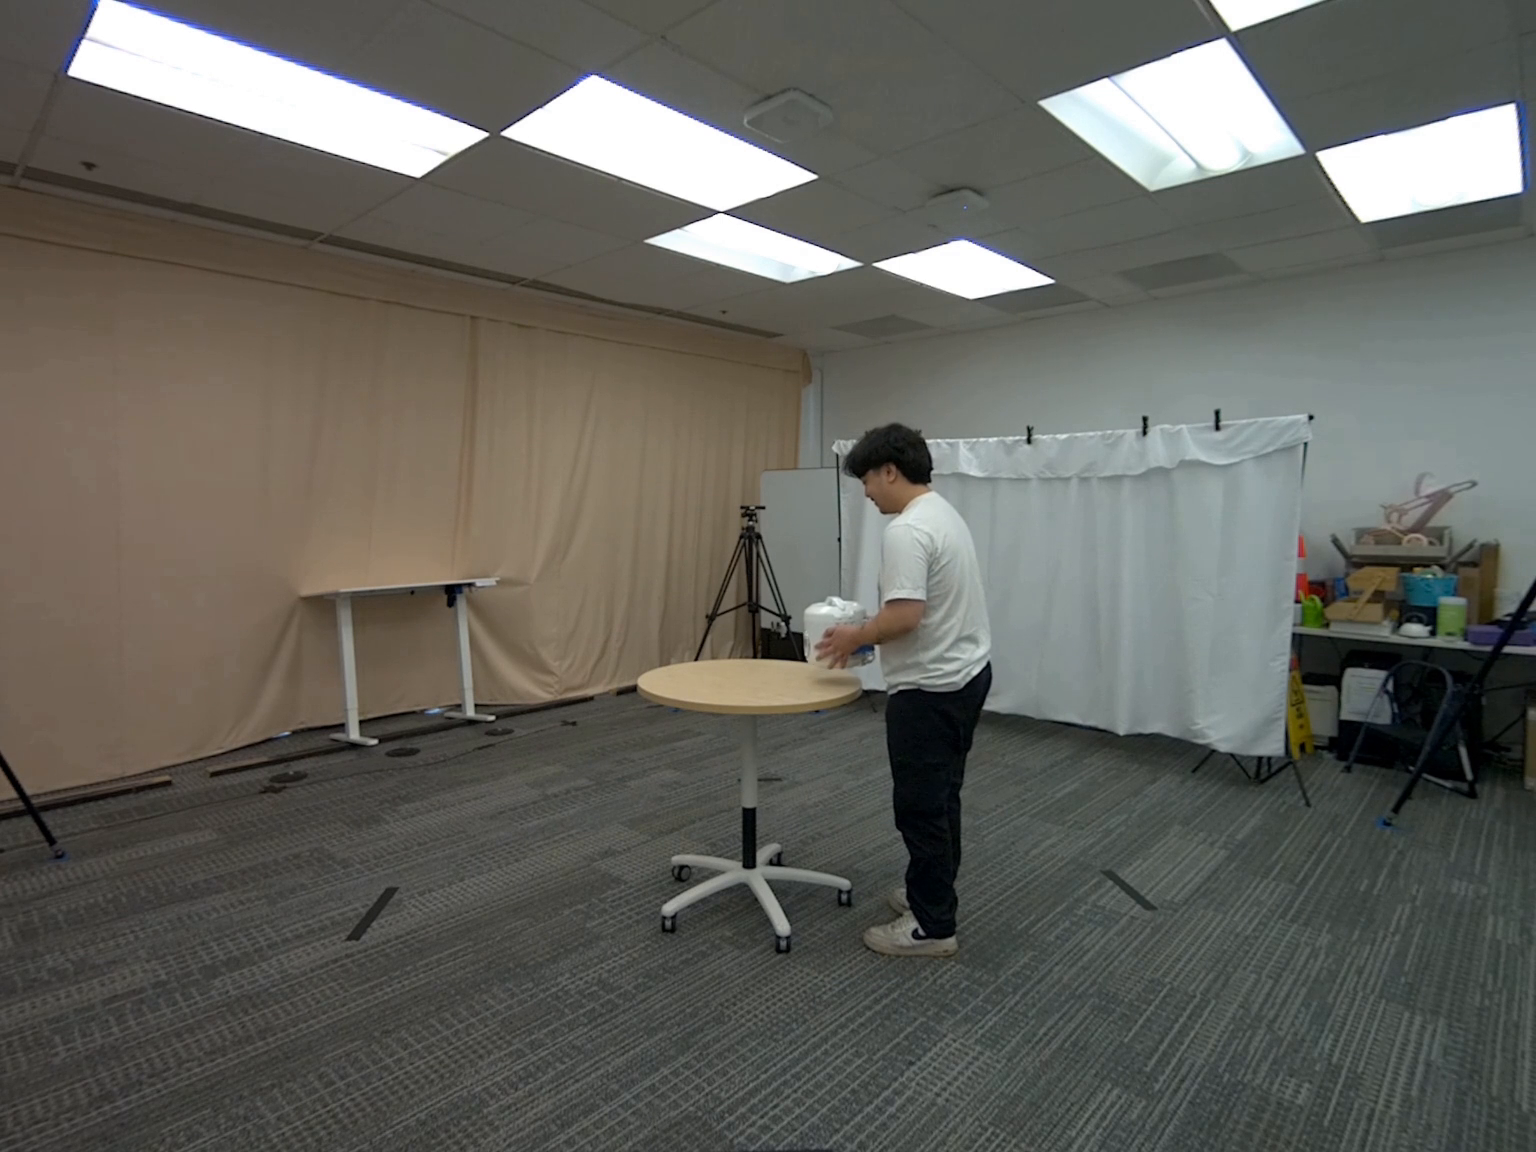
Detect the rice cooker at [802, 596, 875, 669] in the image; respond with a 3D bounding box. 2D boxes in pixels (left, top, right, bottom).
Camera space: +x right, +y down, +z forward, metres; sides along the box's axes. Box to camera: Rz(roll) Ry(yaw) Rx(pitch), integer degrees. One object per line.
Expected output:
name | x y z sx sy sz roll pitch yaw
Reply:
rice cooker | 0.238 0.188 2.846 0.215 0.232 0.223 -4 3 -11
